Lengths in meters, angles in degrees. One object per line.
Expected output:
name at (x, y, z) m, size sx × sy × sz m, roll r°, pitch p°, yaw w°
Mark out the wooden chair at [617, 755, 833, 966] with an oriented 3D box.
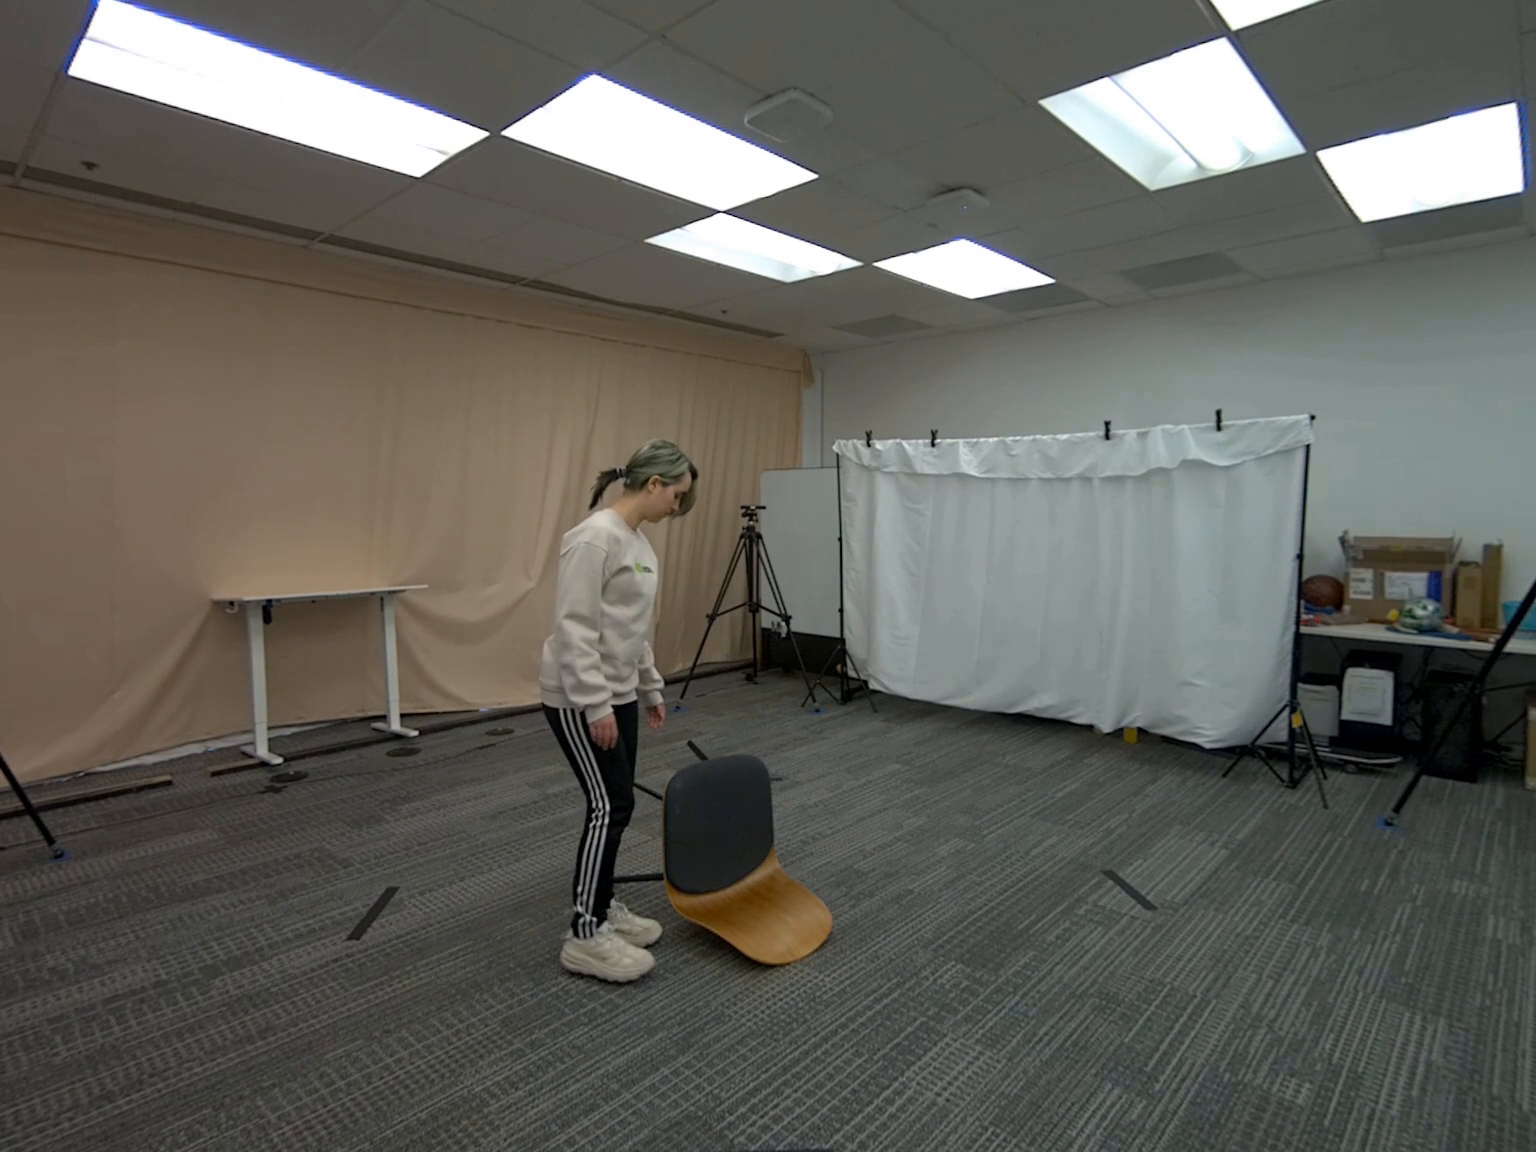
wooden chair at (-0.187, 0.894, 2.909) m, size 0.464 × 0.522 × 0.907 m, roll -3°, pitch 6°, yaw -40°
